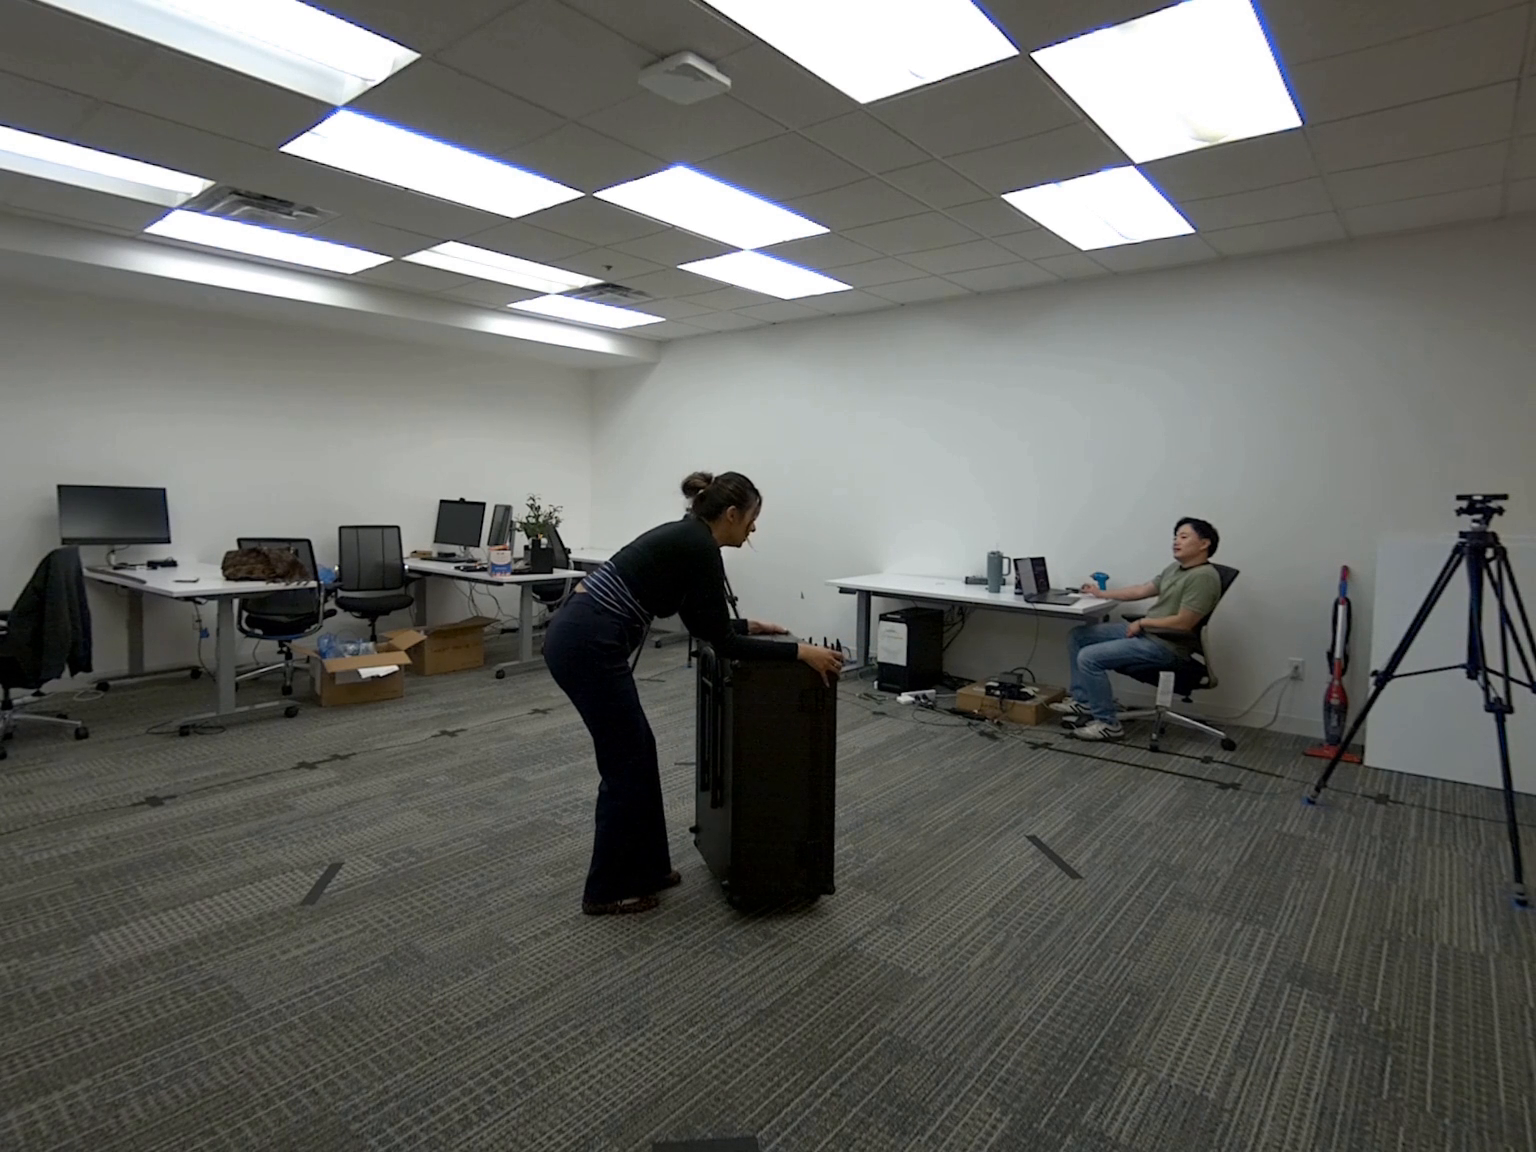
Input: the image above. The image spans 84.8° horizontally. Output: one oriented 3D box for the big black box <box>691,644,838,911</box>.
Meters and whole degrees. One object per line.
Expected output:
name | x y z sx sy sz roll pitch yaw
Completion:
big black box | -0.038 0.664 2.928 0.389 0.858 0.532 -2 5 -18
